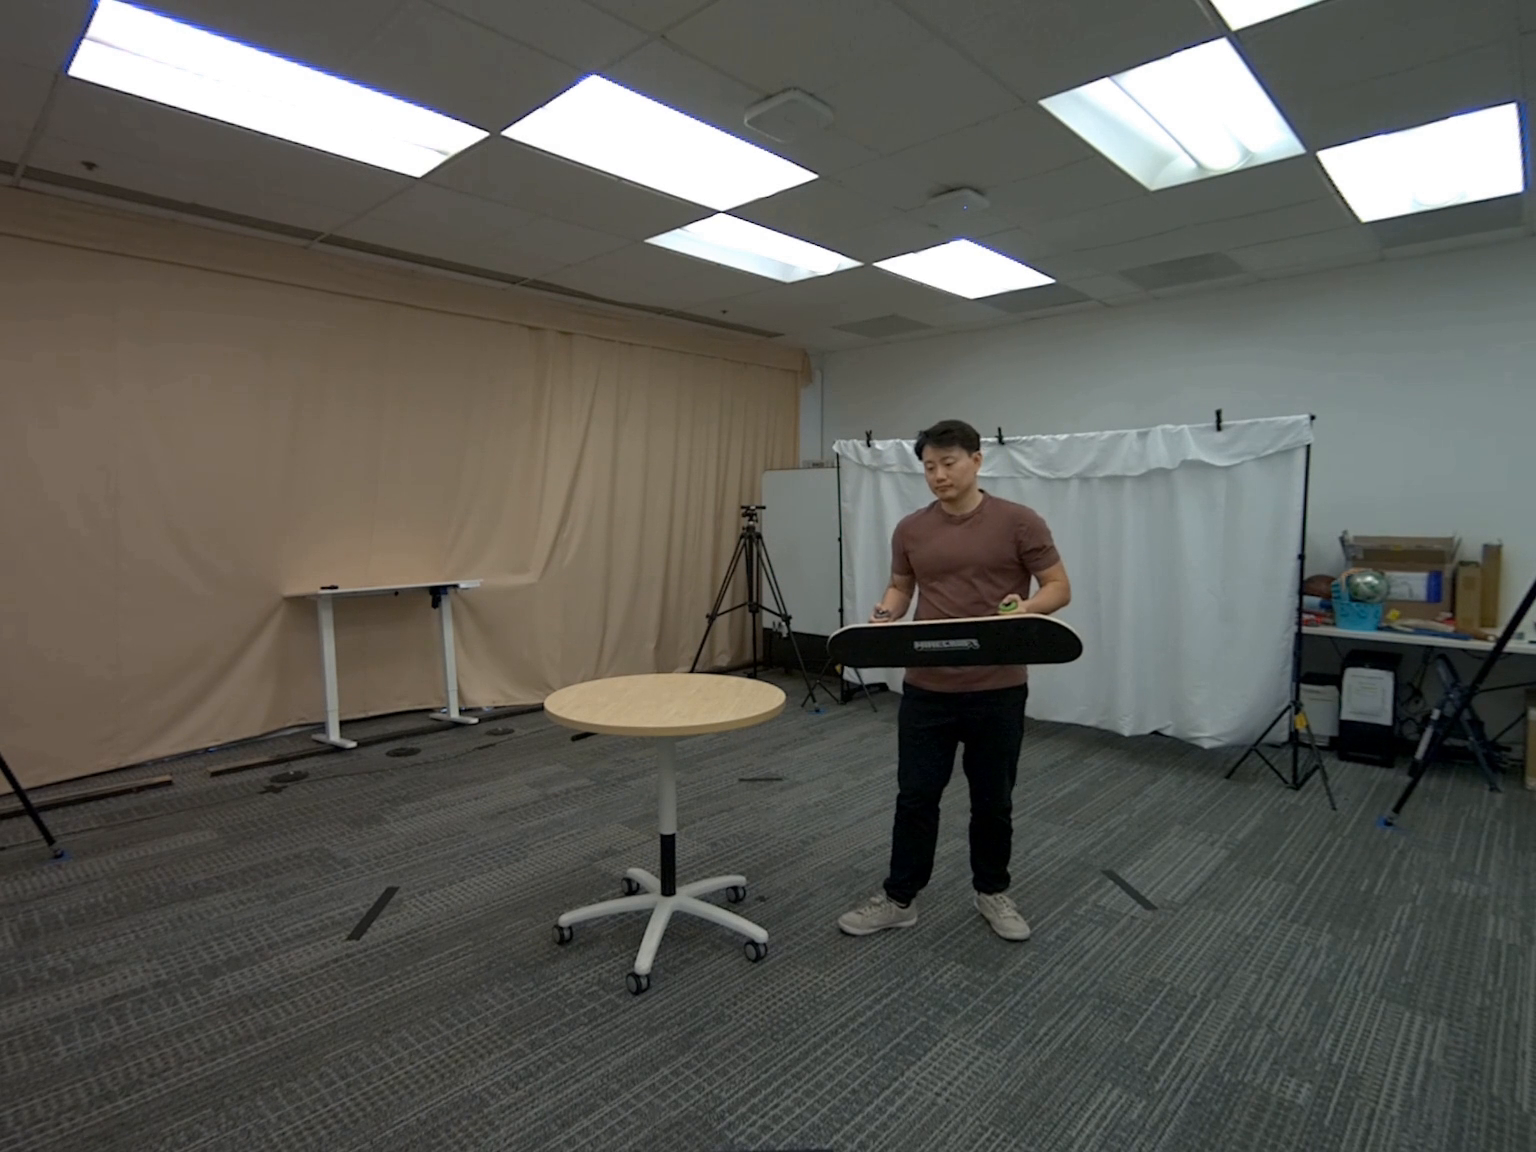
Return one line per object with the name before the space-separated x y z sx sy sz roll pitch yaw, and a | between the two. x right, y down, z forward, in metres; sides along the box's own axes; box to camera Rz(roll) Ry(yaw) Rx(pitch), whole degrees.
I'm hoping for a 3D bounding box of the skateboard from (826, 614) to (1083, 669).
skateboard | 0.547 0.187 2.595 0.807 0.188 0.110 -4 38 32
